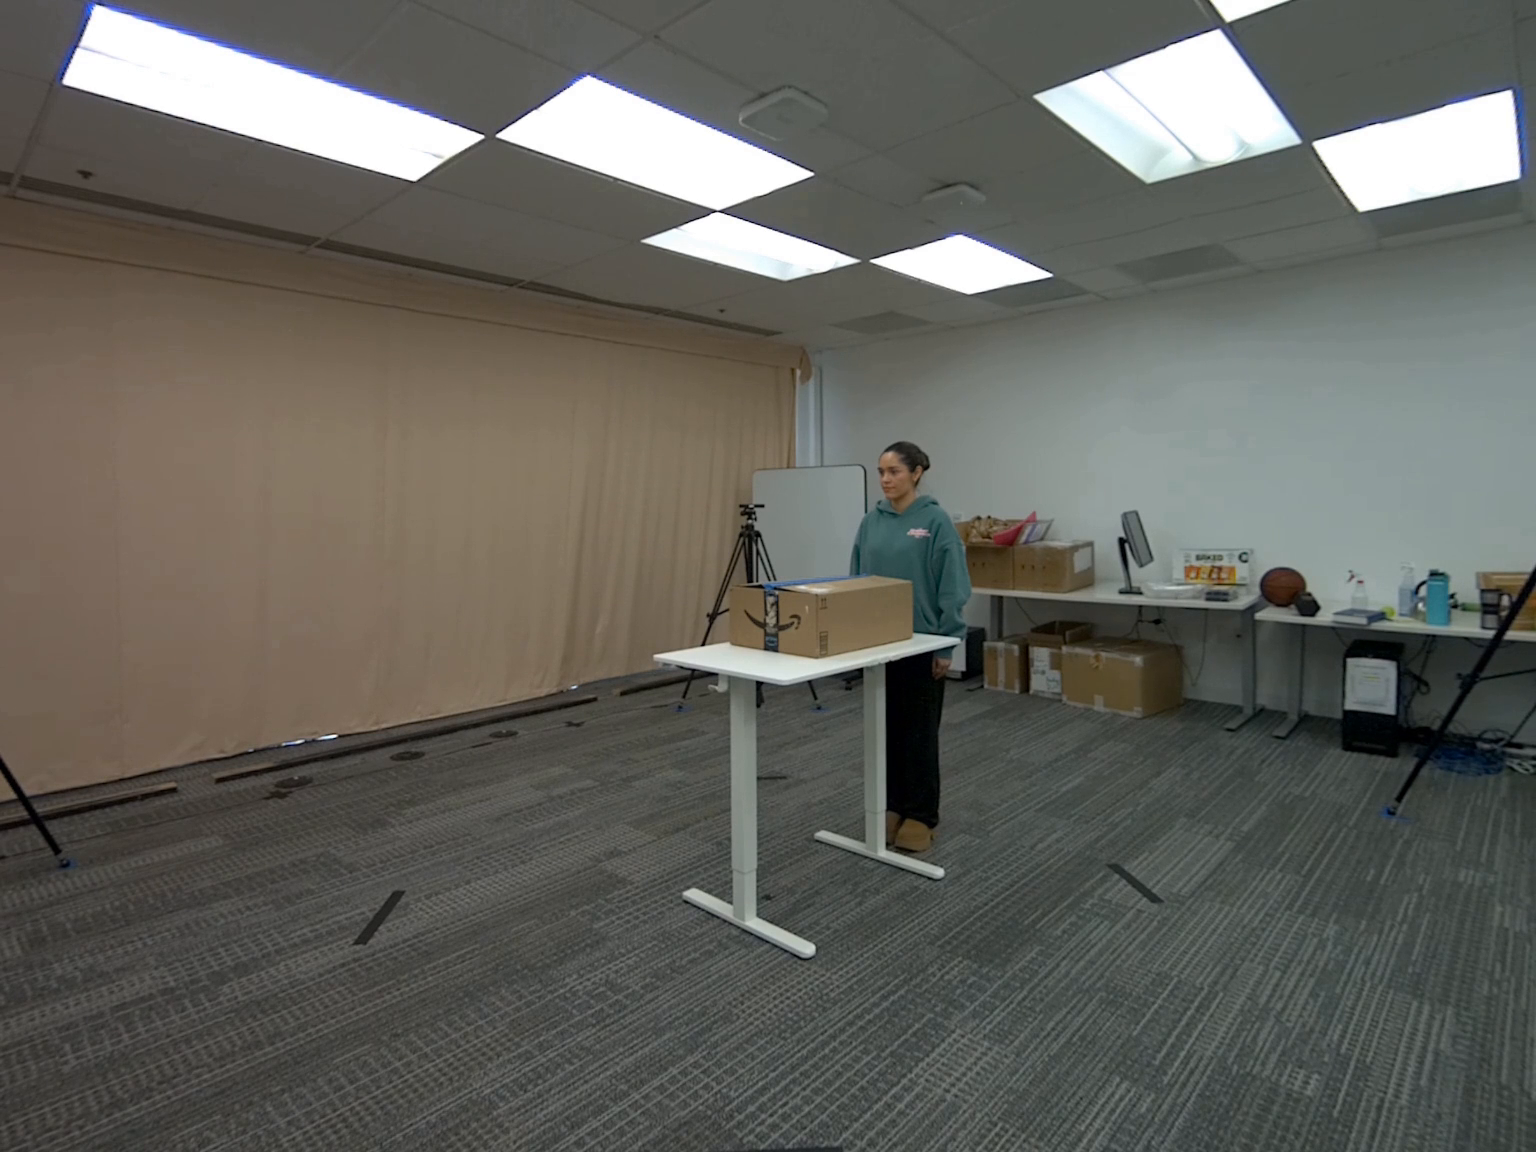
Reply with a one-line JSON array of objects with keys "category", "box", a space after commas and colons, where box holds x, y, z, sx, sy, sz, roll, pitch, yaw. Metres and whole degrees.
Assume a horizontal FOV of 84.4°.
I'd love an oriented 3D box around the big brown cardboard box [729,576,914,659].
[{"category": "big brown cardboard box", "box": [0.198, 0.135, 3.096, 0.431, 0.232, 0.571, 4, 6, 44]}]
